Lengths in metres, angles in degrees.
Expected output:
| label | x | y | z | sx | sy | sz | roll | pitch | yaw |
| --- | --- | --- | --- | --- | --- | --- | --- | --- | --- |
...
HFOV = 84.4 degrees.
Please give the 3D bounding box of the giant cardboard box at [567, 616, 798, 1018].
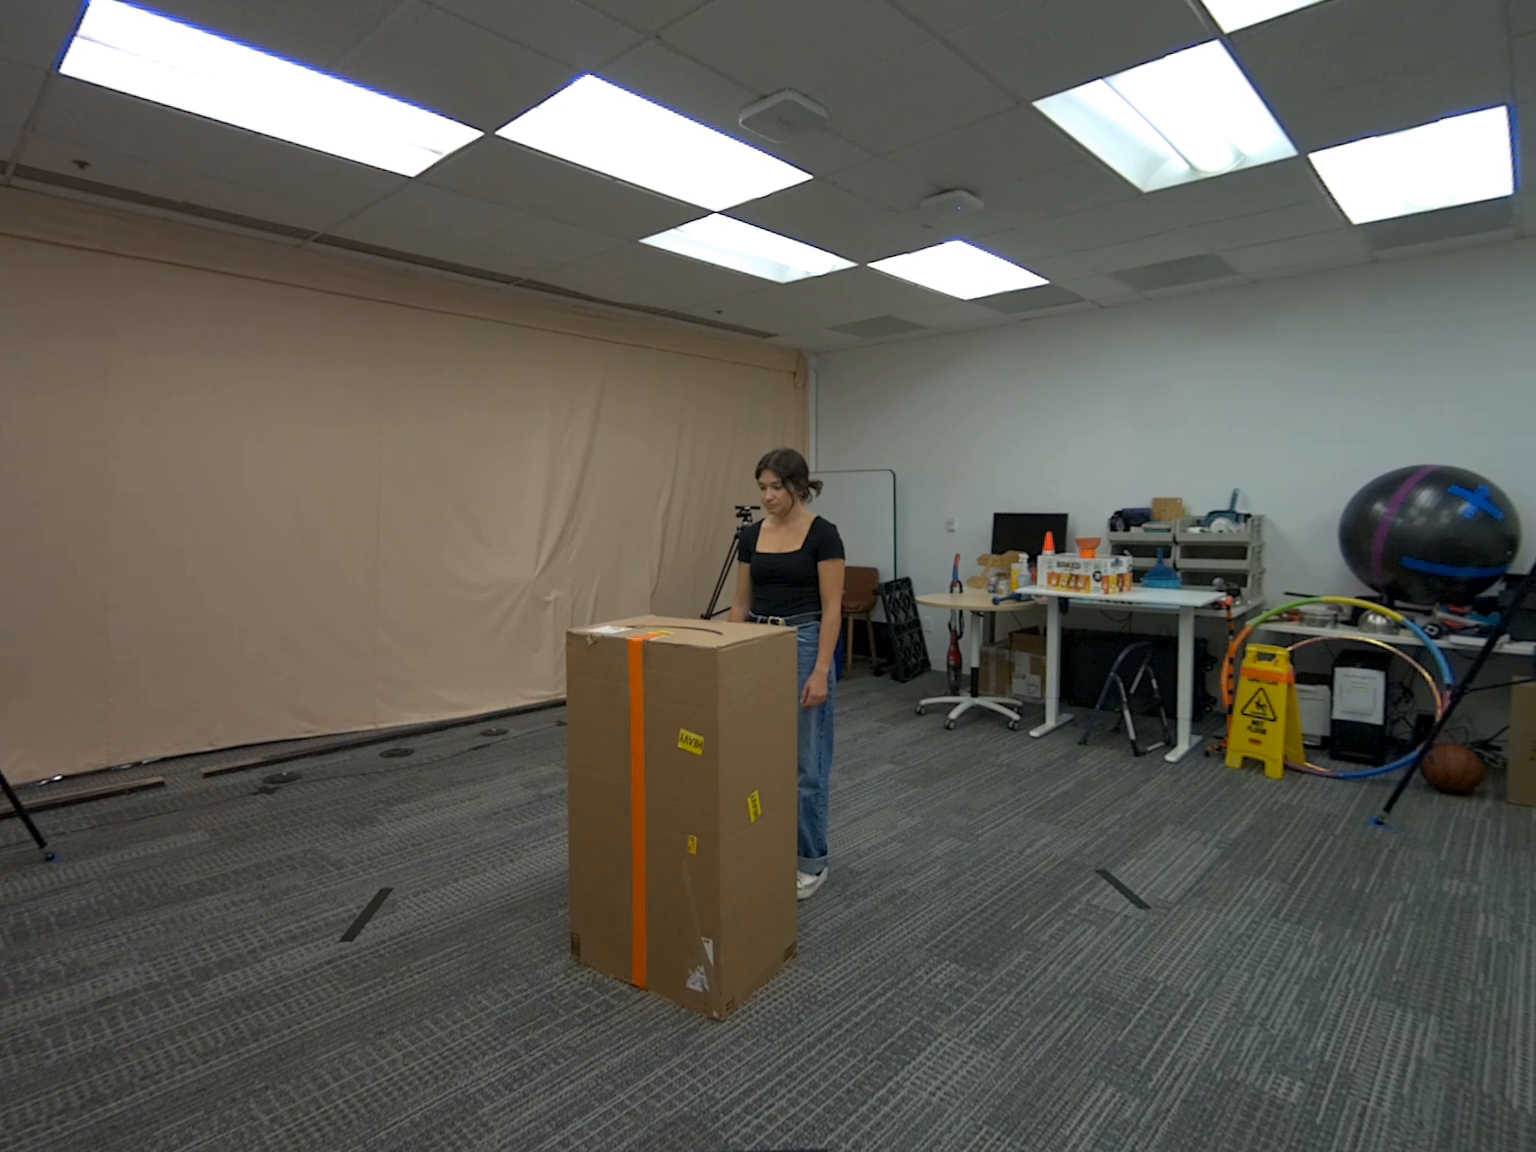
| label | x | y | z | sx | sy | sz | roll | pitch | yaw |
| --- | --- | --- | --- | --- | --- | --- | --- | --- | --- |
| giant cardboard box | -0.267 | 0.671 | 2.576 | 0.595 | 1.024 | 0.414 | 2 | 4 | 34 |
